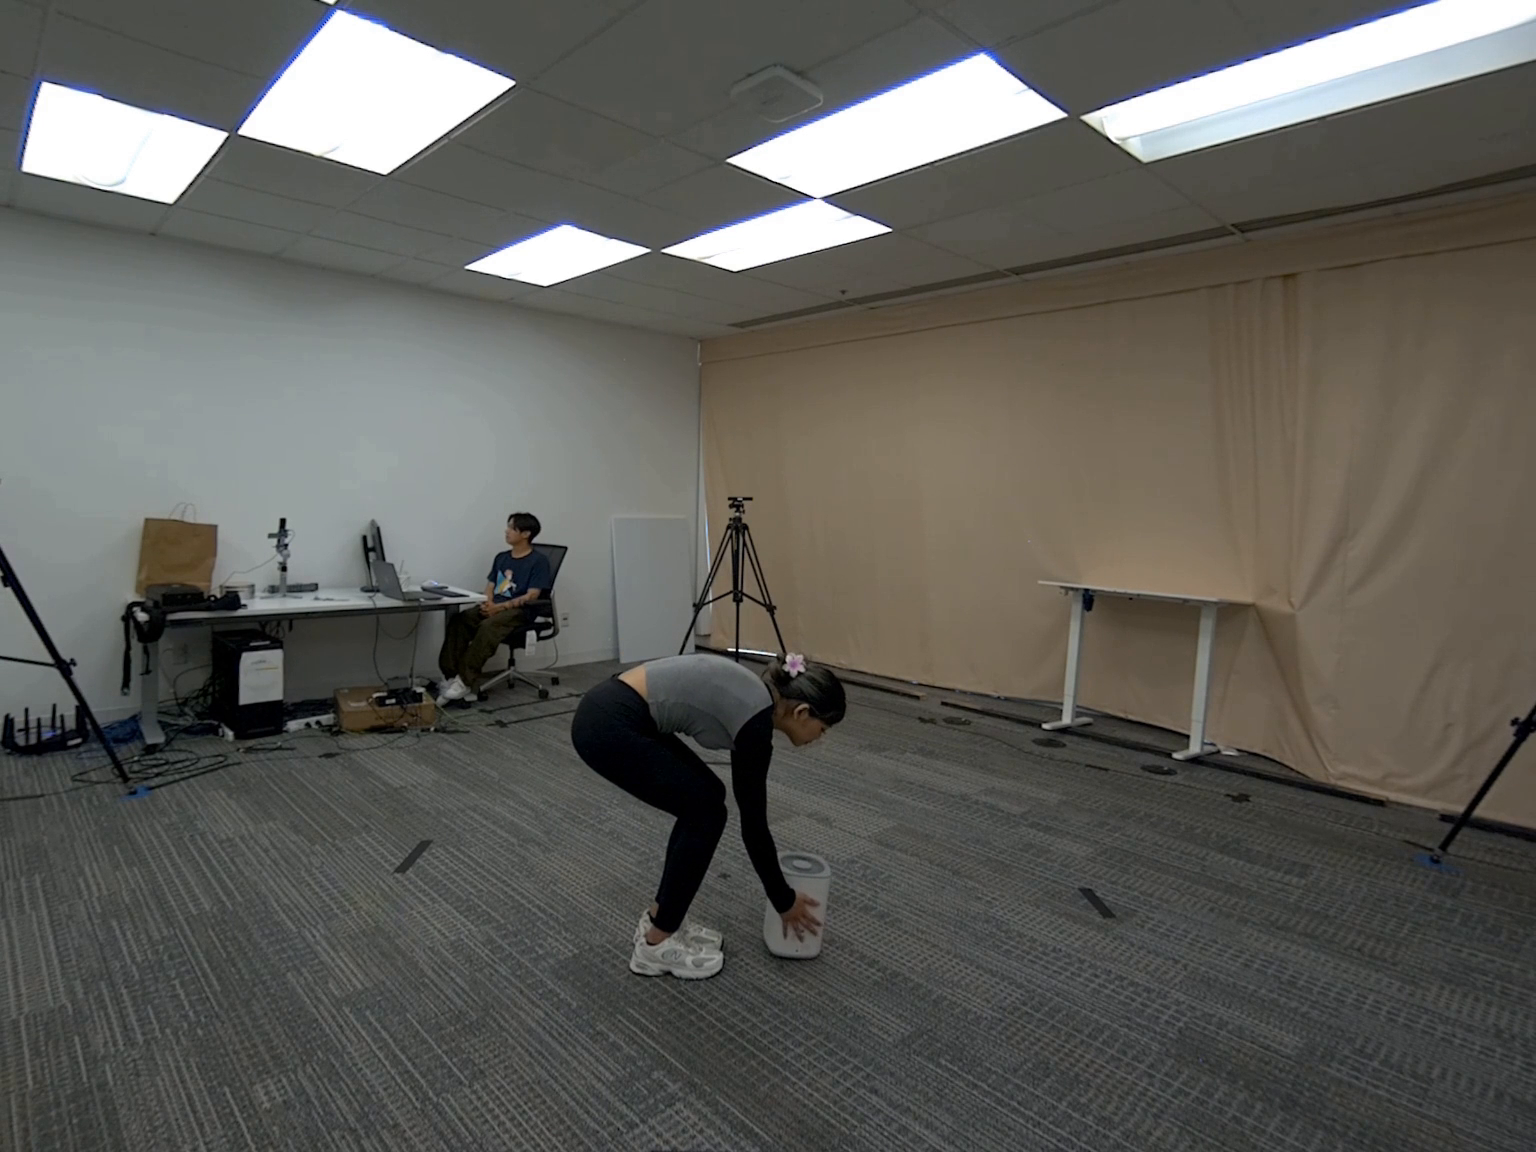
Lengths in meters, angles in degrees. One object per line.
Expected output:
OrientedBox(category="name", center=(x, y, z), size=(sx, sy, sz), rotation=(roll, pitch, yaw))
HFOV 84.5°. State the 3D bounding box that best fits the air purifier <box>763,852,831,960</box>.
OrientedBox(category="air purifier", center=(0.070, 1.019, 2.604), size=(0.170, 0.265, 0.173), rotation=(4, 3, -10))
